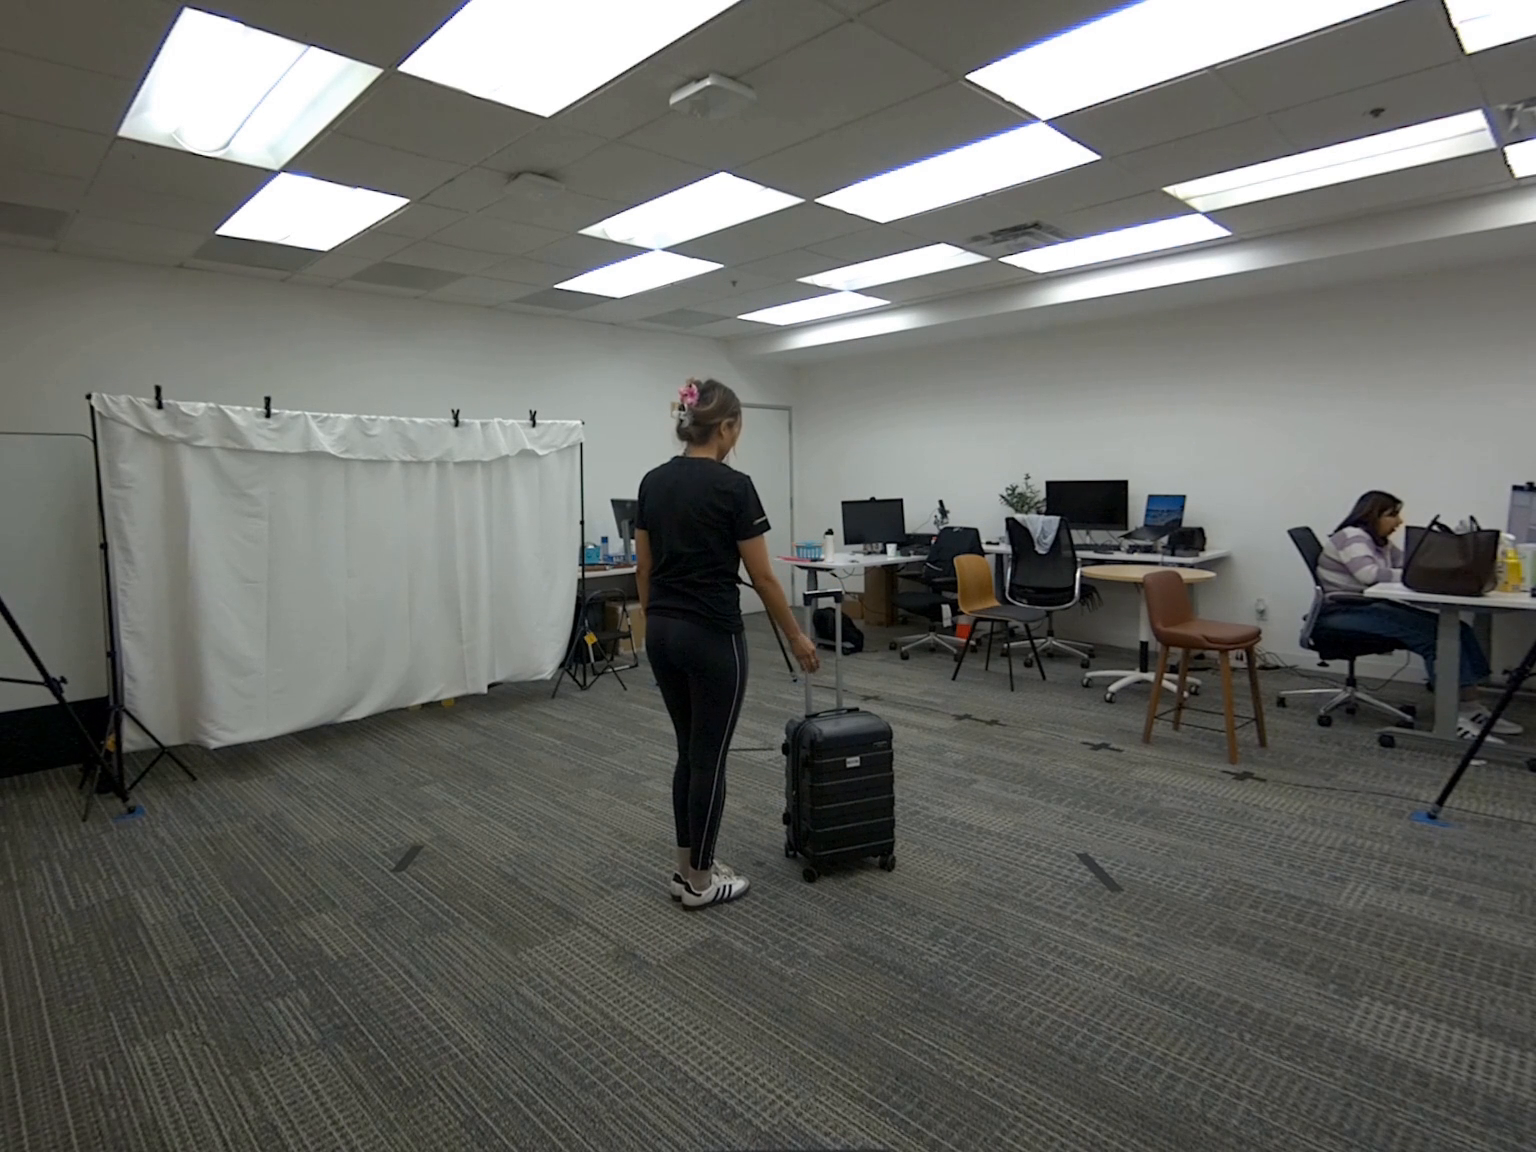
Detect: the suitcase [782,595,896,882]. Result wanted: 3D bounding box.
[{"bbox_3d":[0.258,0.572,3.087,0.378,0.974,0.262,-3,5,-17],"label":"suitcase"}]
